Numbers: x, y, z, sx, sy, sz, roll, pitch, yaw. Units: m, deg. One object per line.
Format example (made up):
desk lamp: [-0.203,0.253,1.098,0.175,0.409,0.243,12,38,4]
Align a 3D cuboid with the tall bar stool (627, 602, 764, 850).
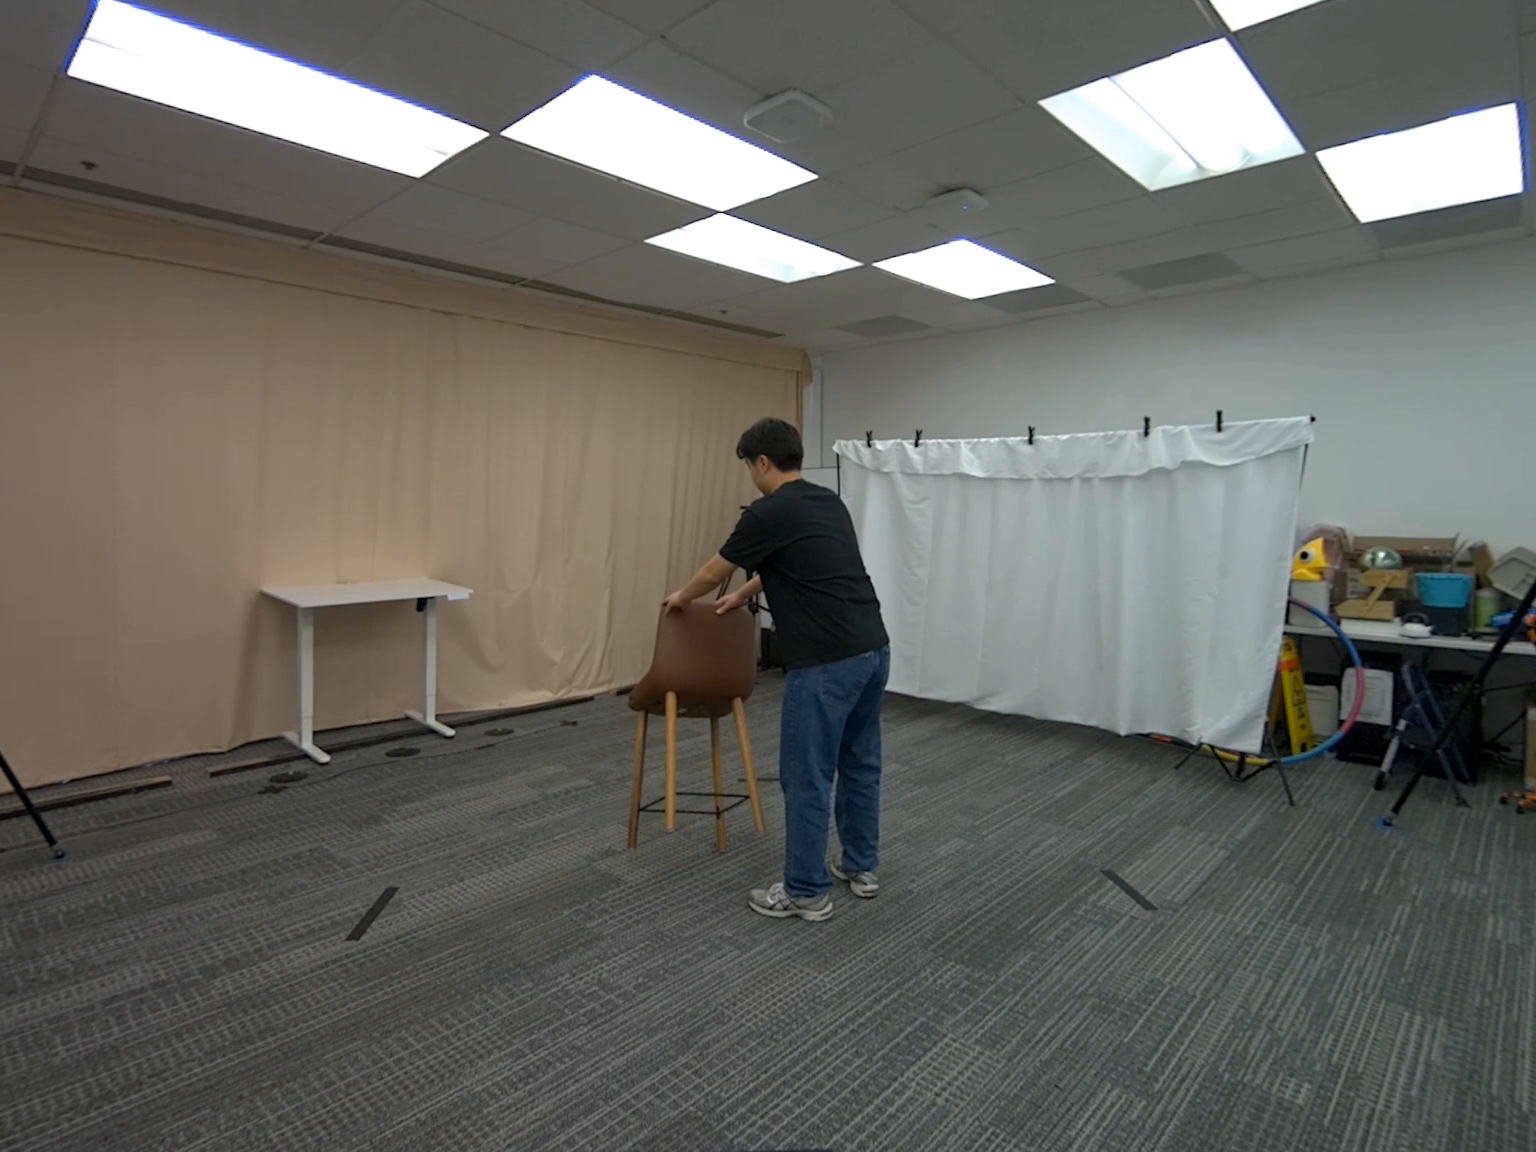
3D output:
tall bar stool: [-0.297,0.600,3.350,0.446,0.903,0.471,8,-27,-22]
